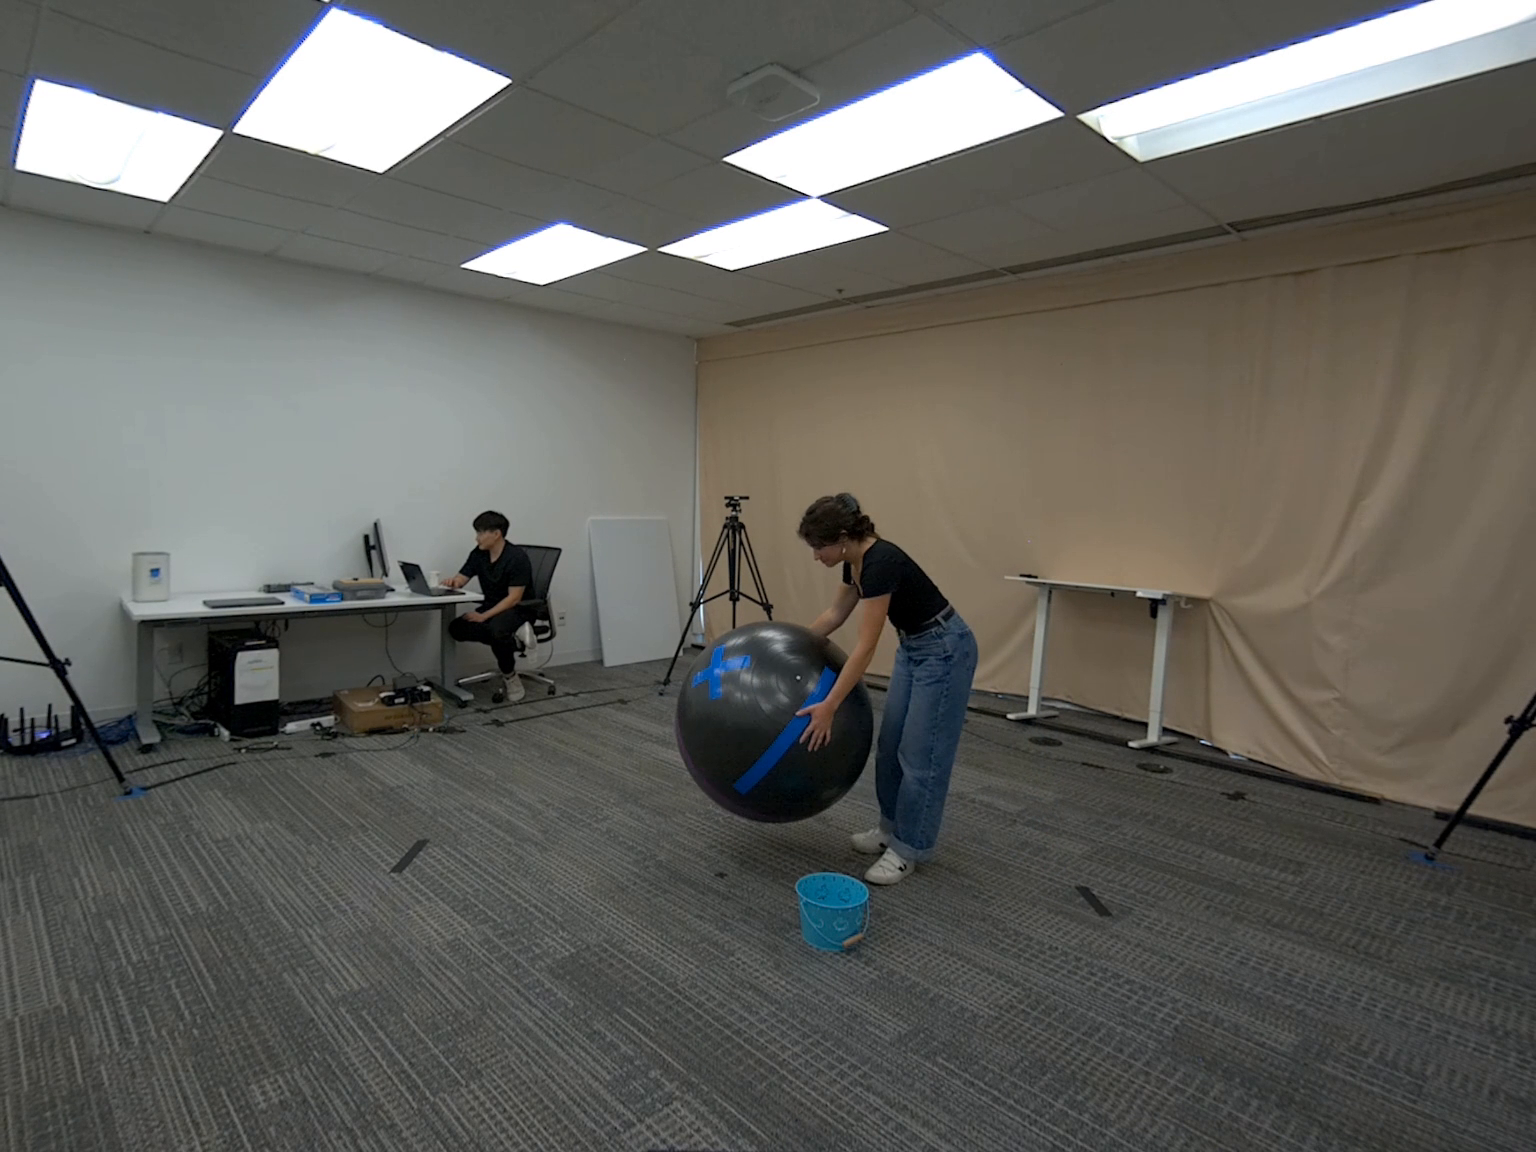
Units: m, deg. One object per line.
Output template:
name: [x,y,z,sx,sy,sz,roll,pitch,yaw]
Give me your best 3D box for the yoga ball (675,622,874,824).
yoga ball: [0.022,0.567,3.234,0.757,0.756,0.761,1,4,-1]
